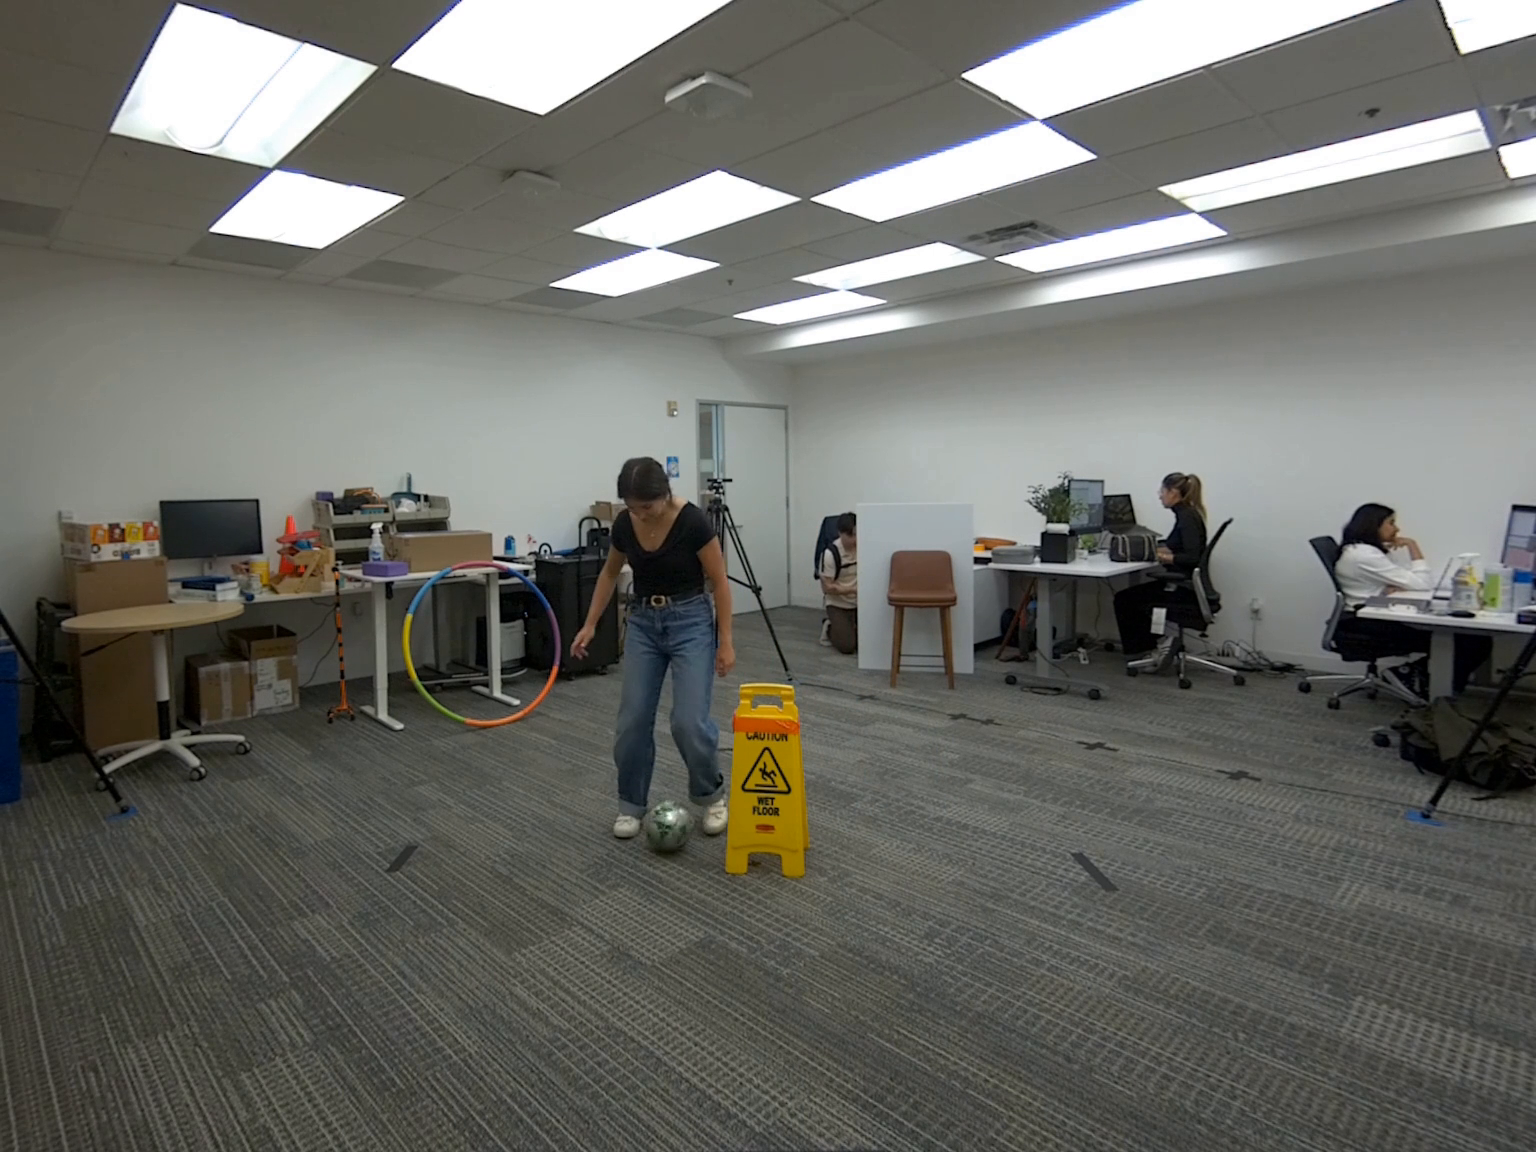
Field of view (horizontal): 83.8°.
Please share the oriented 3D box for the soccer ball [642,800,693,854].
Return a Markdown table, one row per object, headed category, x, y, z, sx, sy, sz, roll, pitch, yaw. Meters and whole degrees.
| category | x | y | z | sx | sy | sz | roll | pitch | yaw |
| --- | --- | --- | --- | --- | --- | --- | --- | --- | --- |
| soccer ball | -0.389 | 0.952 | 3.236 | 0.187 | 0.187 | 0.188 | -1 | 5 | -2 |
